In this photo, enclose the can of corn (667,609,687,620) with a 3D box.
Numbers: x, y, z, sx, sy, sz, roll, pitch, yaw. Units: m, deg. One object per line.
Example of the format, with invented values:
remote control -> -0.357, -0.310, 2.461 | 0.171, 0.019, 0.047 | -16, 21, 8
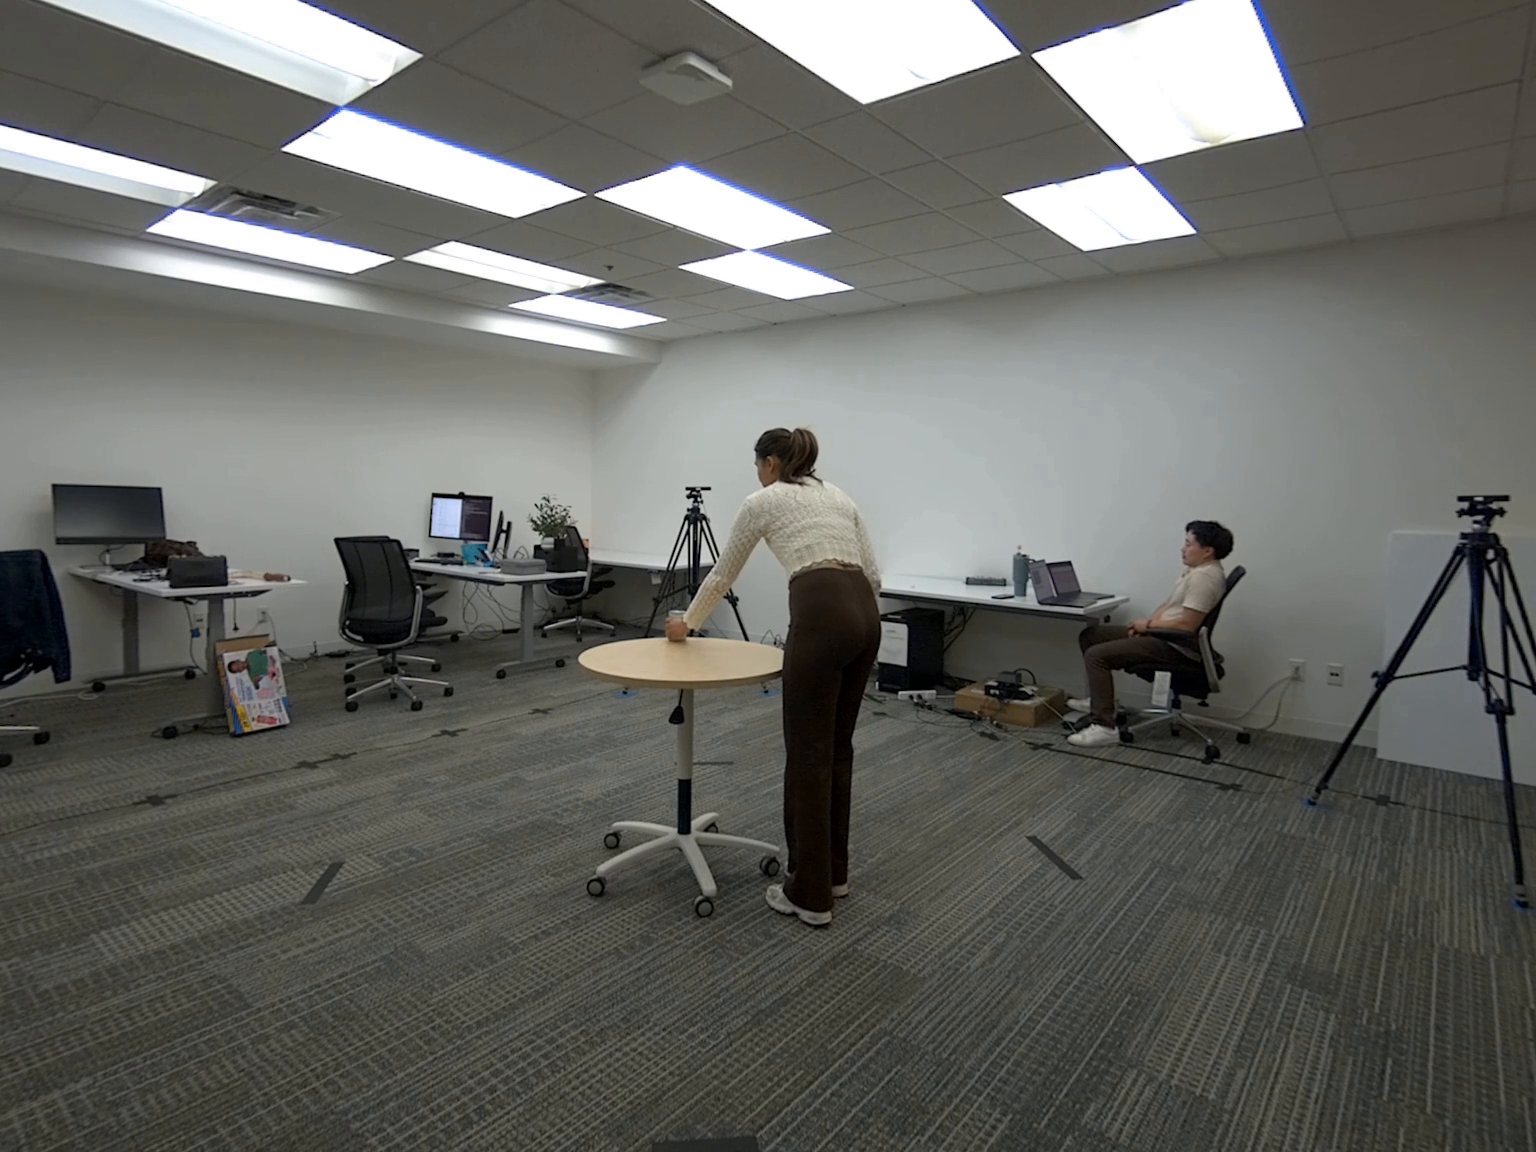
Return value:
can of corn -> -0.365, 0.187, 3.365 | 0.074, 0.111, 0.074 | 0, 4, -2
